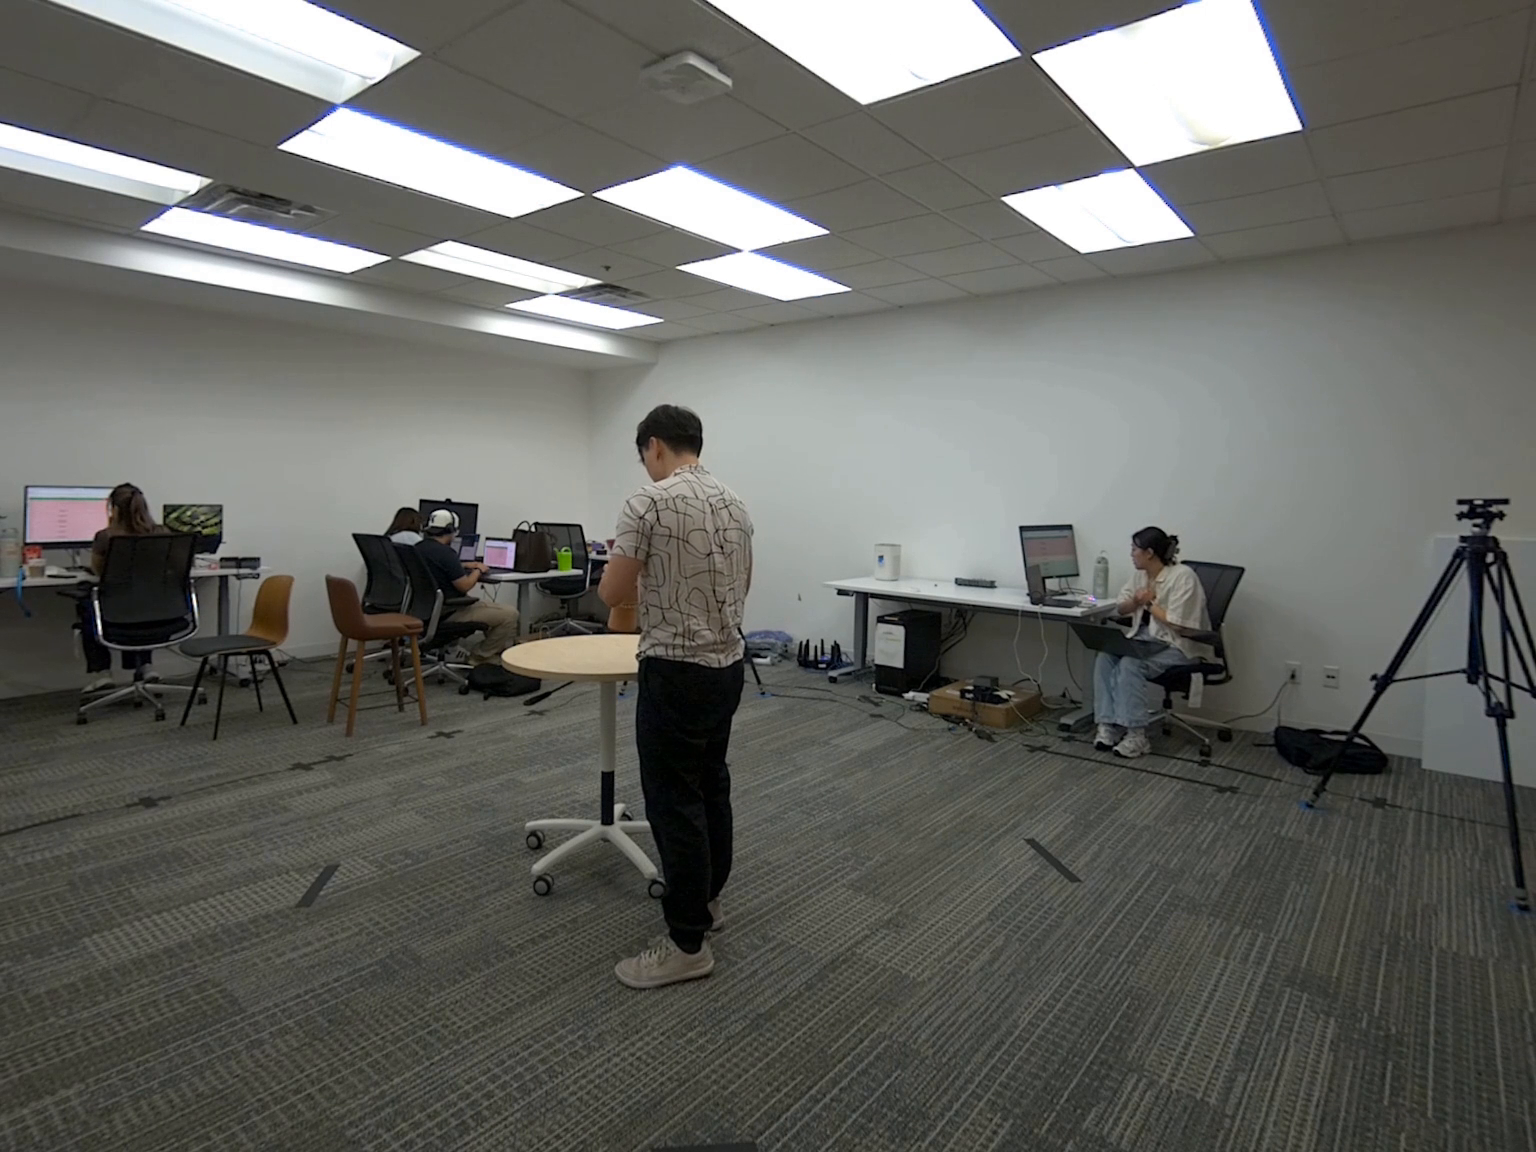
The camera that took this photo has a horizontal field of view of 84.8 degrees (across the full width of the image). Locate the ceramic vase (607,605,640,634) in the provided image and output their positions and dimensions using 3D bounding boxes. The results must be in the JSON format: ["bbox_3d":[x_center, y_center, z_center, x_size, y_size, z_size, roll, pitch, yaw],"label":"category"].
[{"bbox_3d":[-0.494,0.062,2.817,0.131,0.218,0.163,6,7,-22],"label":"ceramic vase"}]
